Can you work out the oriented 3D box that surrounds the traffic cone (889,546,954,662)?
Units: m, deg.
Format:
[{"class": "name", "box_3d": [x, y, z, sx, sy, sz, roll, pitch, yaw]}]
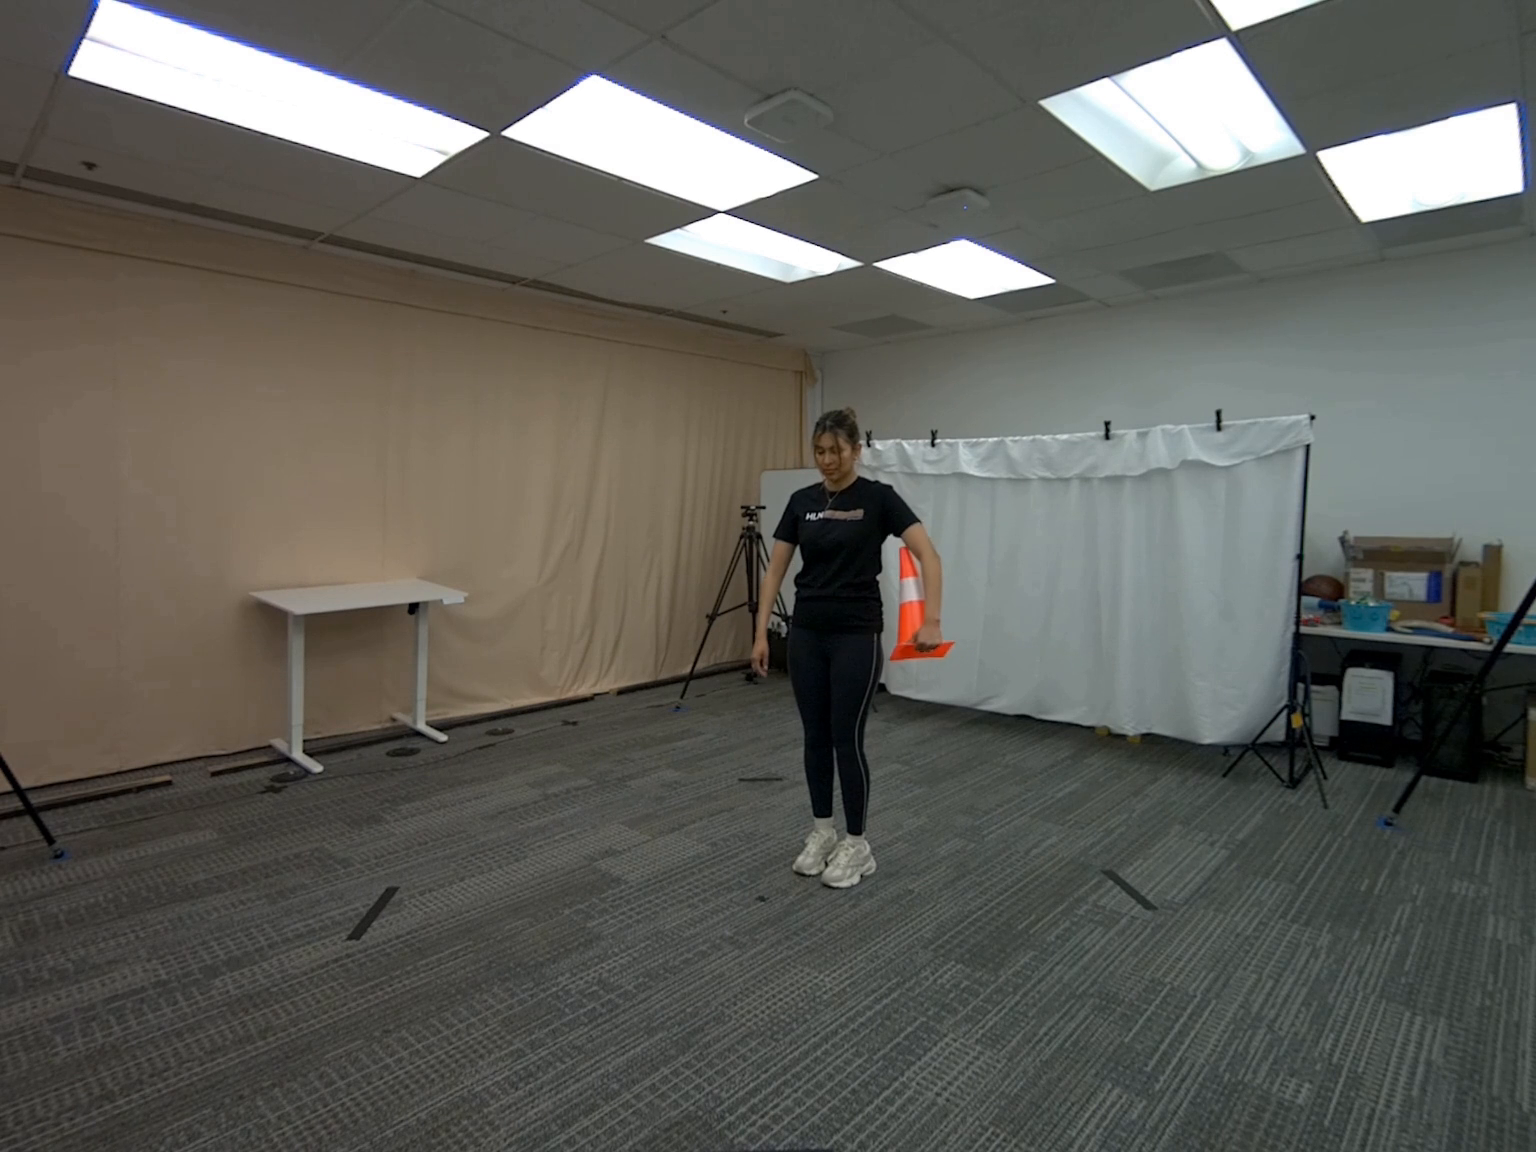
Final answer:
[{"class": "traffic cone", "box_3d": [0.499, 0.081, 2.935, 0.207, 0.389, 0.199, -9, -22, 8]}]
